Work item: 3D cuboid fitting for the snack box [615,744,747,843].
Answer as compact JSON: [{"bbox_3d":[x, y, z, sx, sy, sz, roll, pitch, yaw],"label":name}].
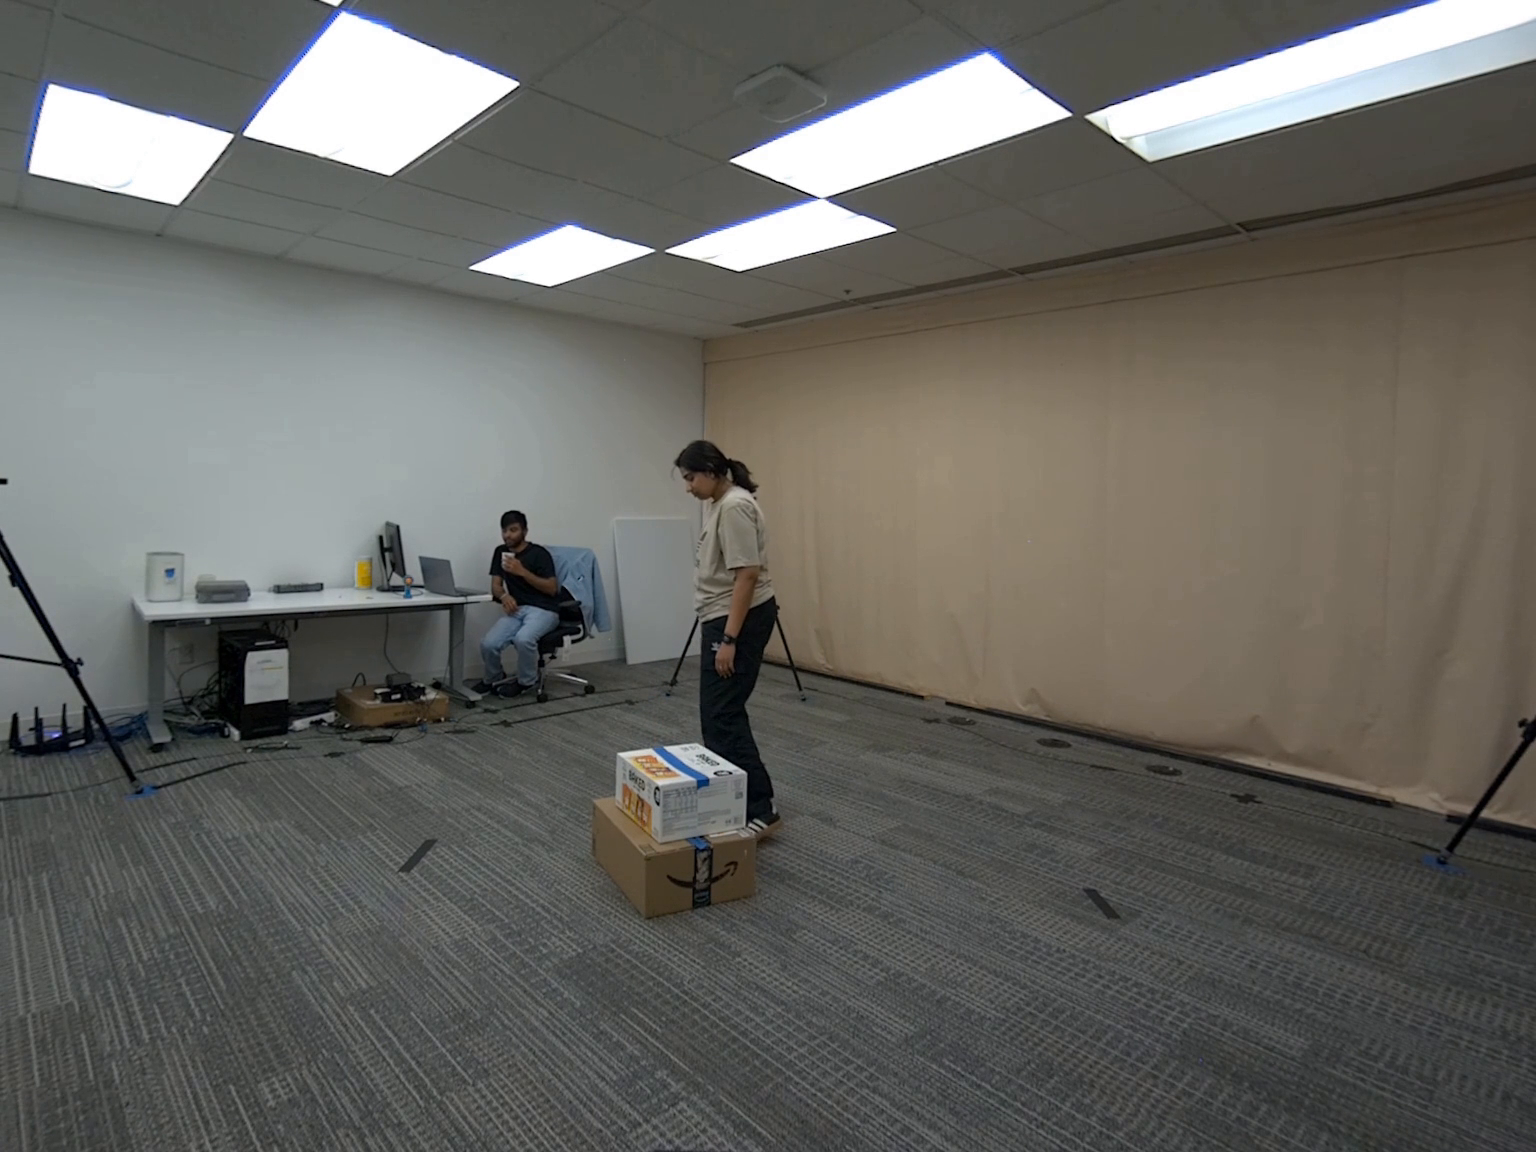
[{"bbox_3d":[-0.333,0.789,3.092,0.333,0.205,0.414,-1,5,-30],"label":"snack box"}]
